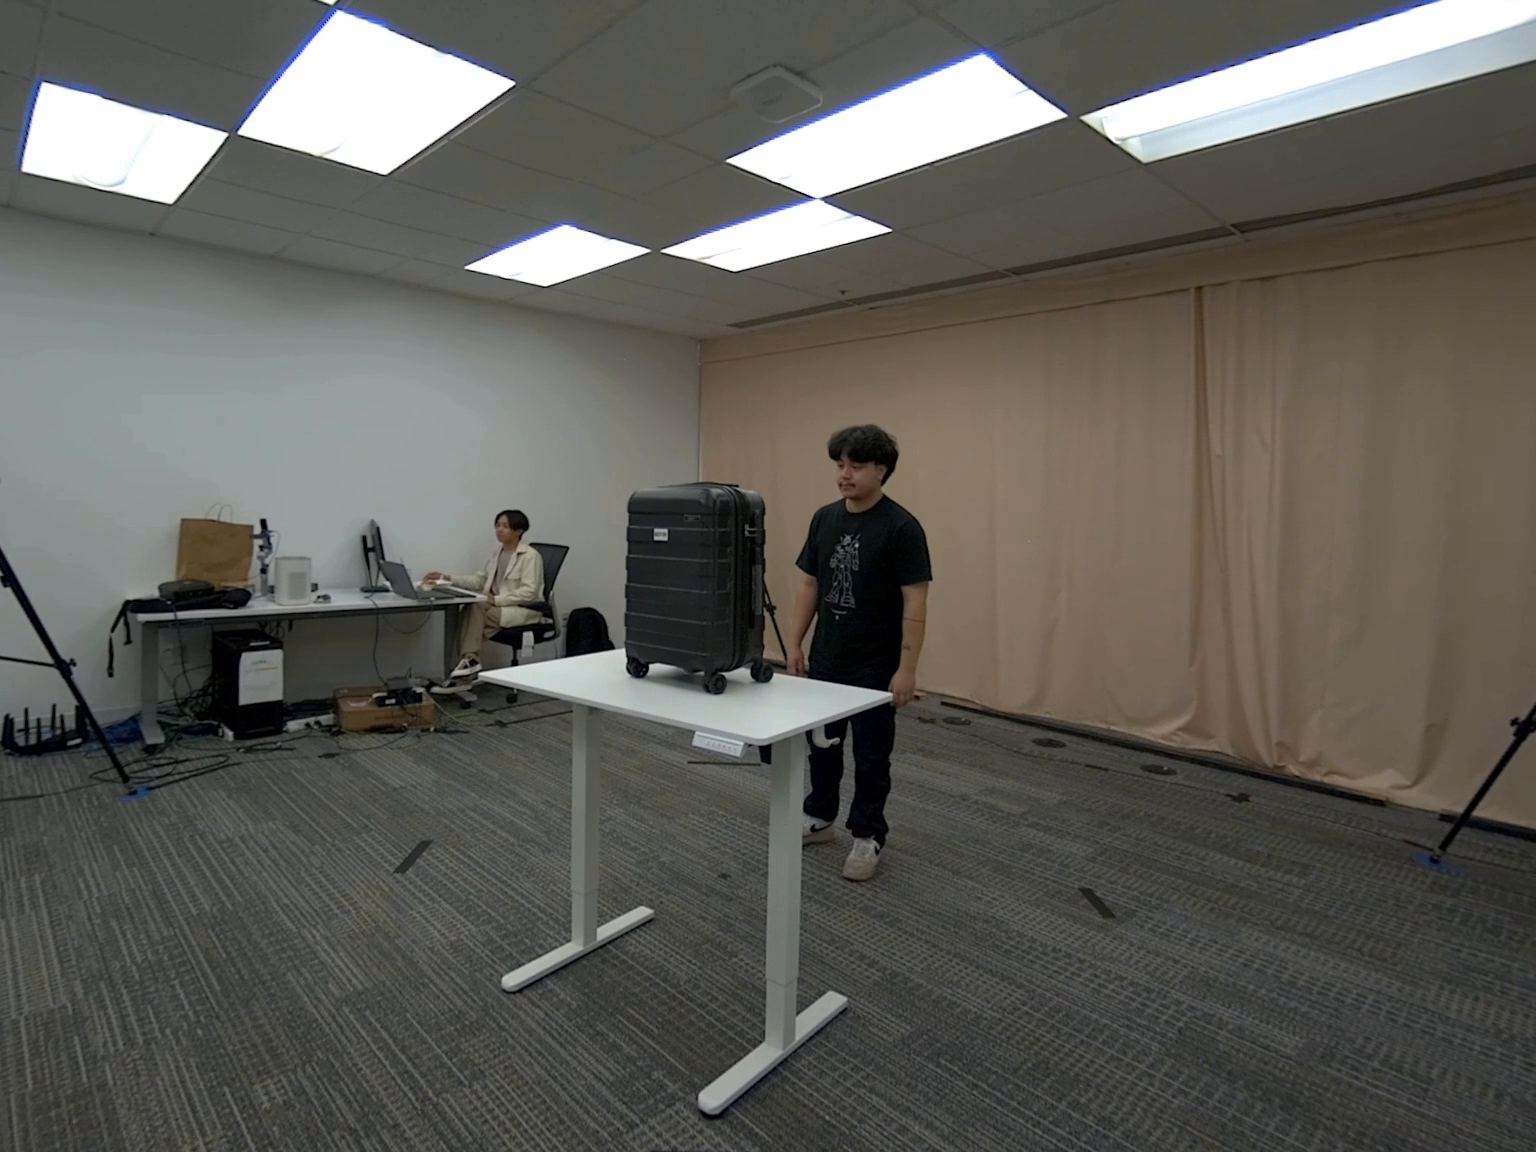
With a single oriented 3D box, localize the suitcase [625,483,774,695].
[{"bbox_3d":[-0.205,0.018,2.339,0.385,0.548,0.243,4,5,38],"label":"suitcase"}]
